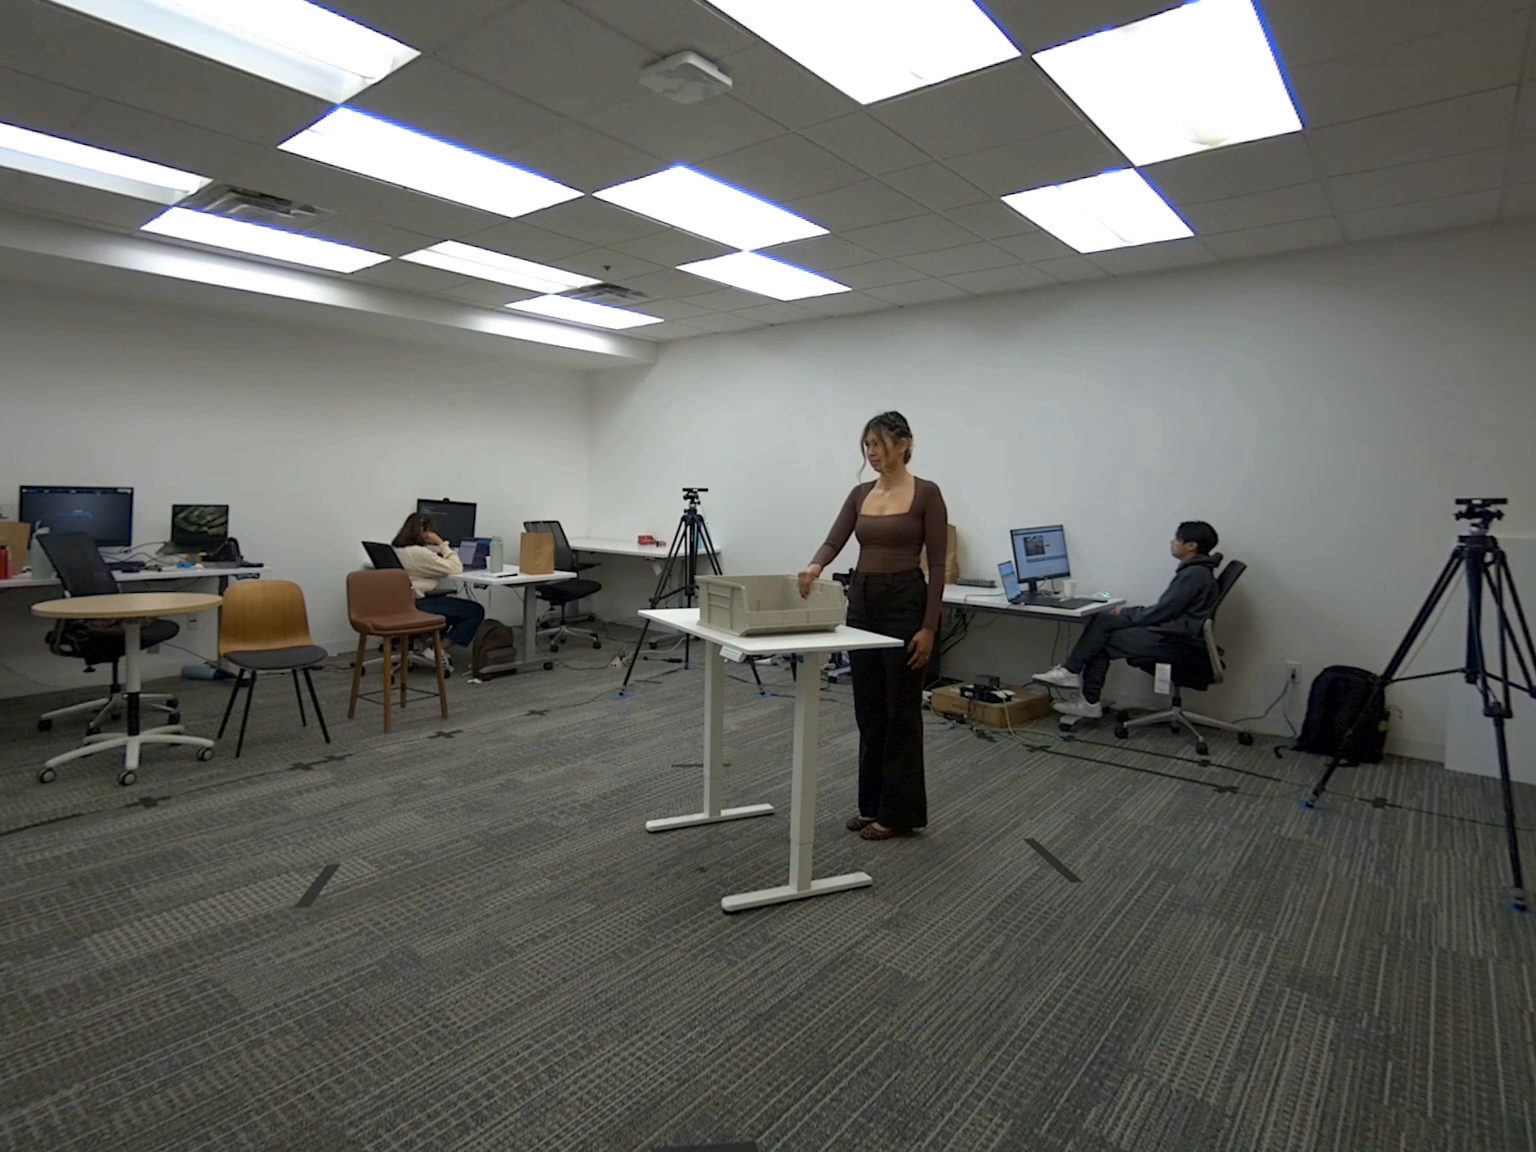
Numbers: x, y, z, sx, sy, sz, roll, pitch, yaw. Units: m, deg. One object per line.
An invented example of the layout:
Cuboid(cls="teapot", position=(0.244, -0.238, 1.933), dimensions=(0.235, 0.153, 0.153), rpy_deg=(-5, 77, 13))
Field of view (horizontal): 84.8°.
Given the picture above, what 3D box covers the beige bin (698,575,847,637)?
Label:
Cuboid(cls="beige bin", position=(-0.002, 0.101, 3.101), dimensions=(0.411, 0.188, 0.389), rpy_deg=(-2, 5, -31))
